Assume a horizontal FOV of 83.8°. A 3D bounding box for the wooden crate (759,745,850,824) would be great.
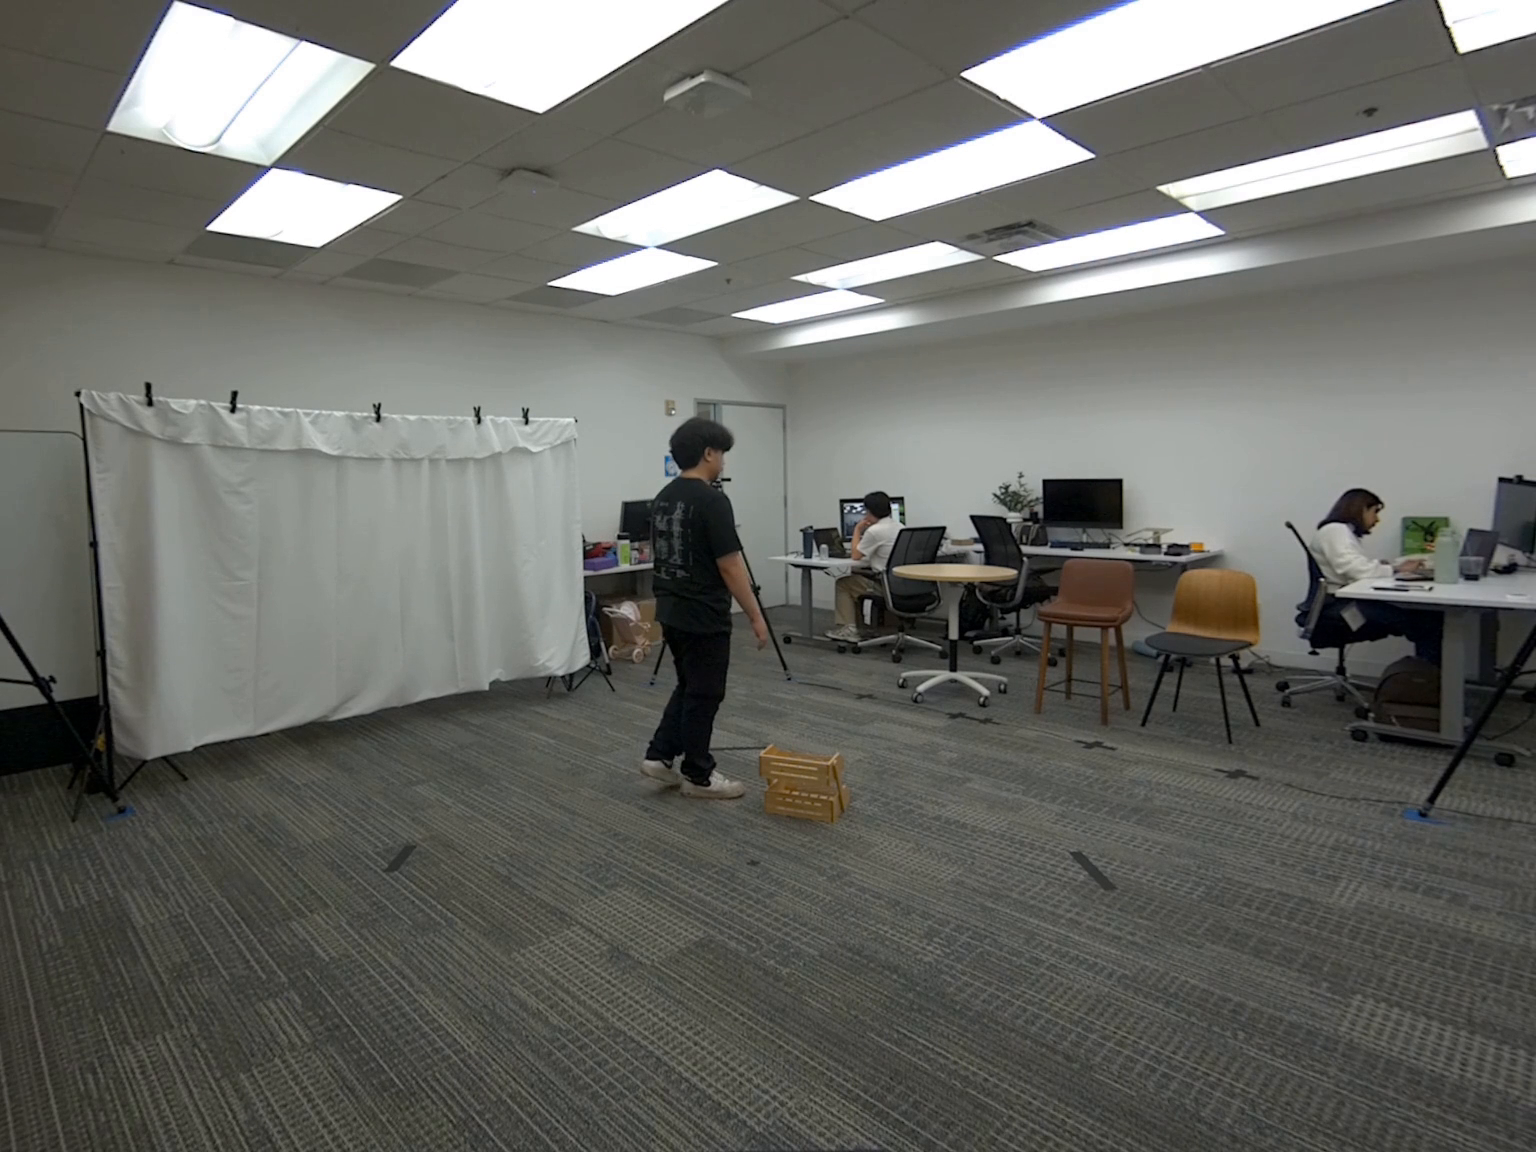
[{"bbox_3d":[0.163,0.851,3.600,0.331,0.272,0.297,1,6,23],"label":"wooden crate"}]
